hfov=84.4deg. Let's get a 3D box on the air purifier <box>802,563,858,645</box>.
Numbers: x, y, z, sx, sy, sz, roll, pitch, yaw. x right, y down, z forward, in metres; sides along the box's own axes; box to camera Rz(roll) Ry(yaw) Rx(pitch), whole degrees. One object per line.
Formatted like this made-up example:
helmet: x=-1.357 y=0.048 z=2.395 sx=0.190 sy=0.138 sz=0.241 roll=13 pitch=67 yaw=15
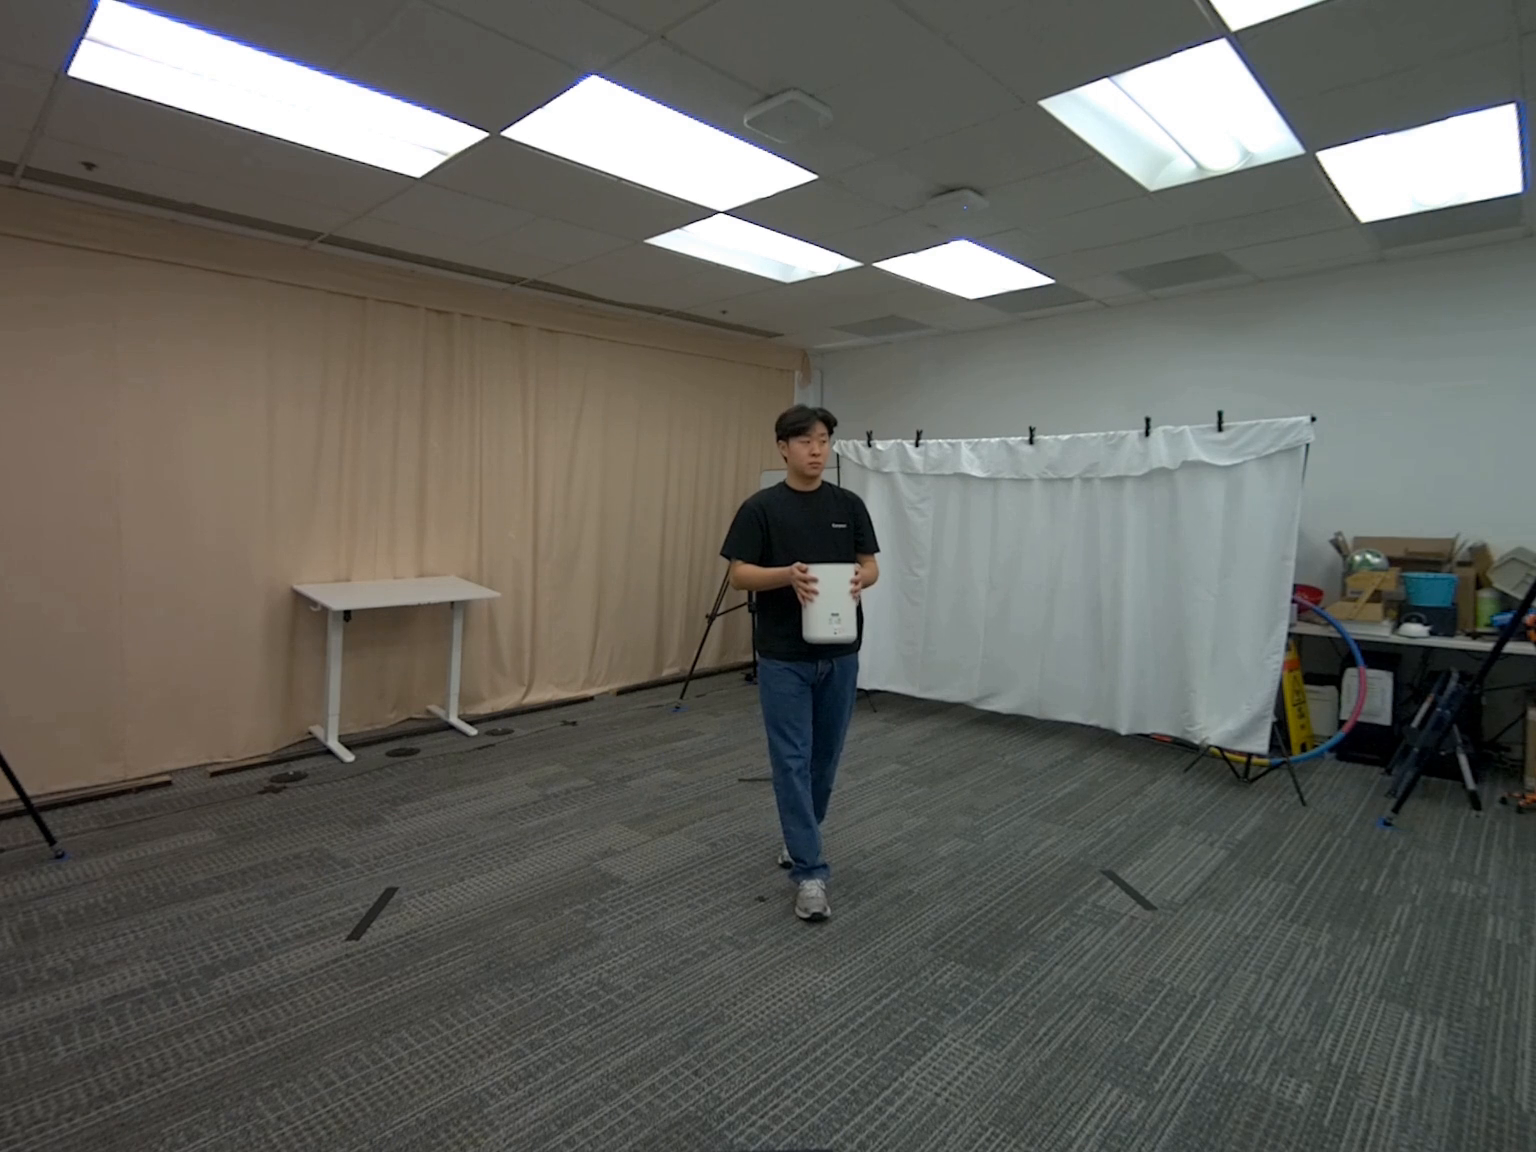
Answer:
air purifier: x=0.209 y=0.097 z=2.863 sx=0.170 sy=0.266 sz=0.172 roll=0 pitch=-3 yaw=-4
